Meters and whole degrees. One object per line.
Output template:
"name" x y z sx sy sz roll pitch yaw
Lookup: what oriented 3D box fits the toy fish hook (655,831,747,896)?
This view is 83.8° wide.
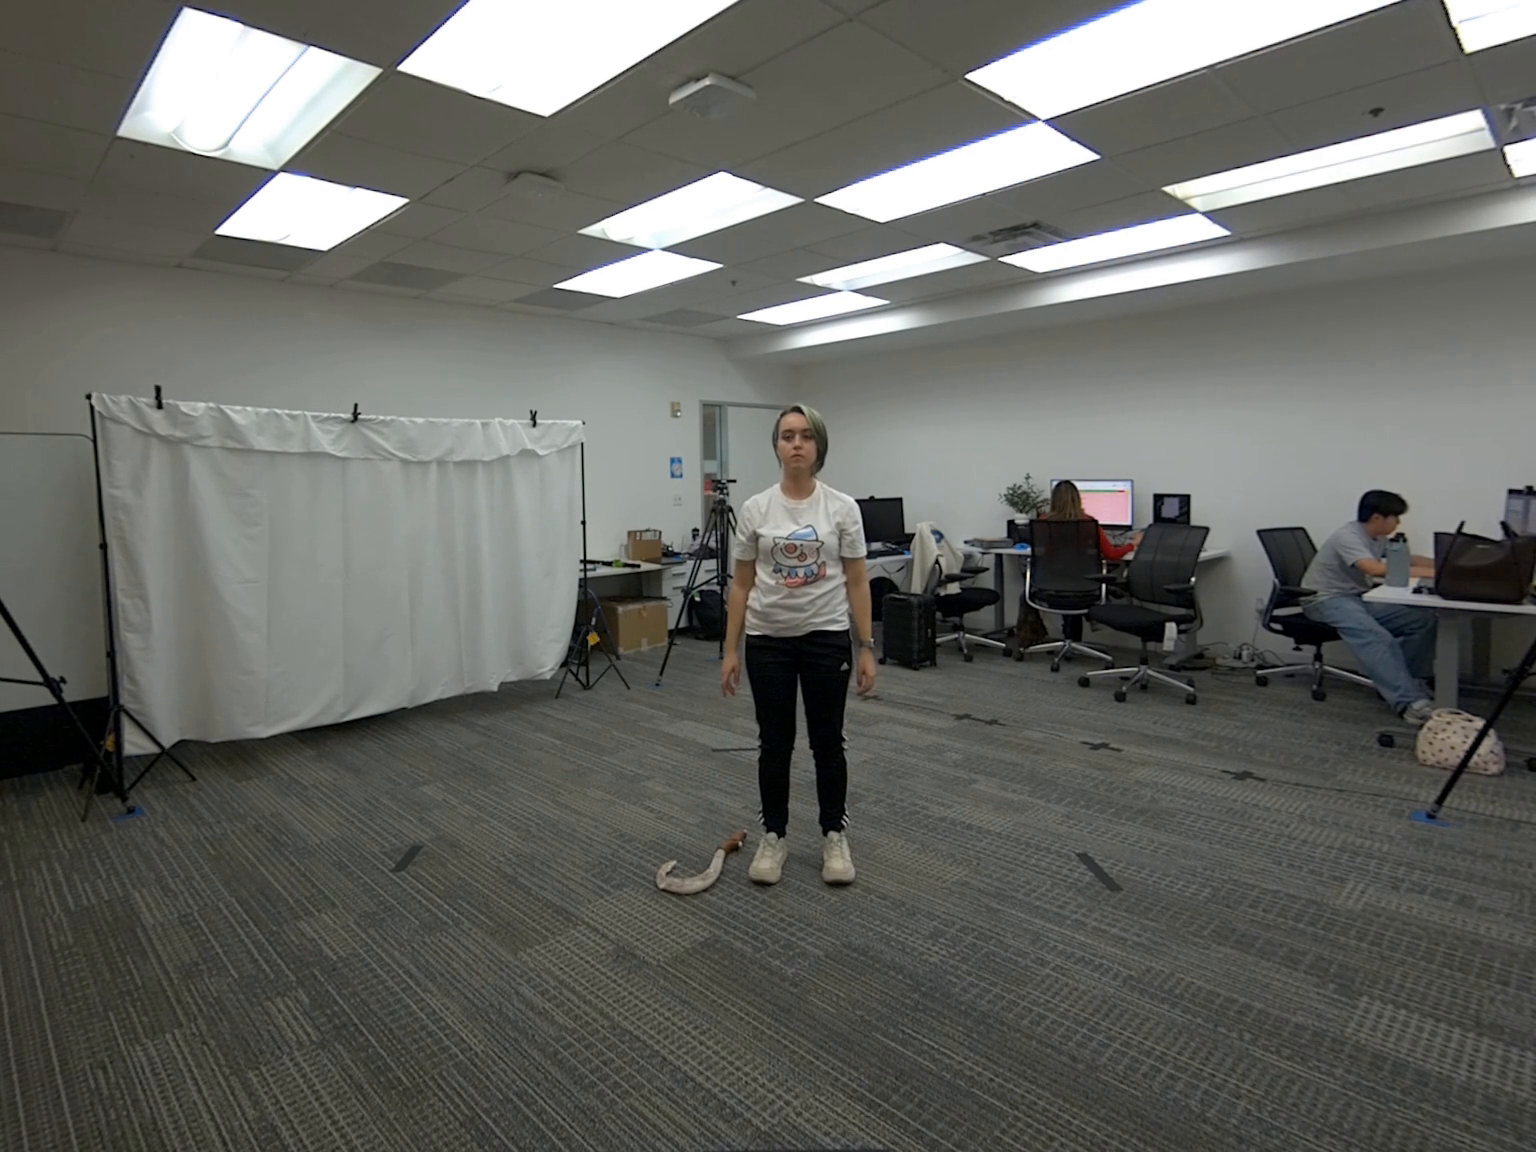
"toy fish hook" -0.234 1.024 3.117 0.229 0.048 0.498 3 7 22
